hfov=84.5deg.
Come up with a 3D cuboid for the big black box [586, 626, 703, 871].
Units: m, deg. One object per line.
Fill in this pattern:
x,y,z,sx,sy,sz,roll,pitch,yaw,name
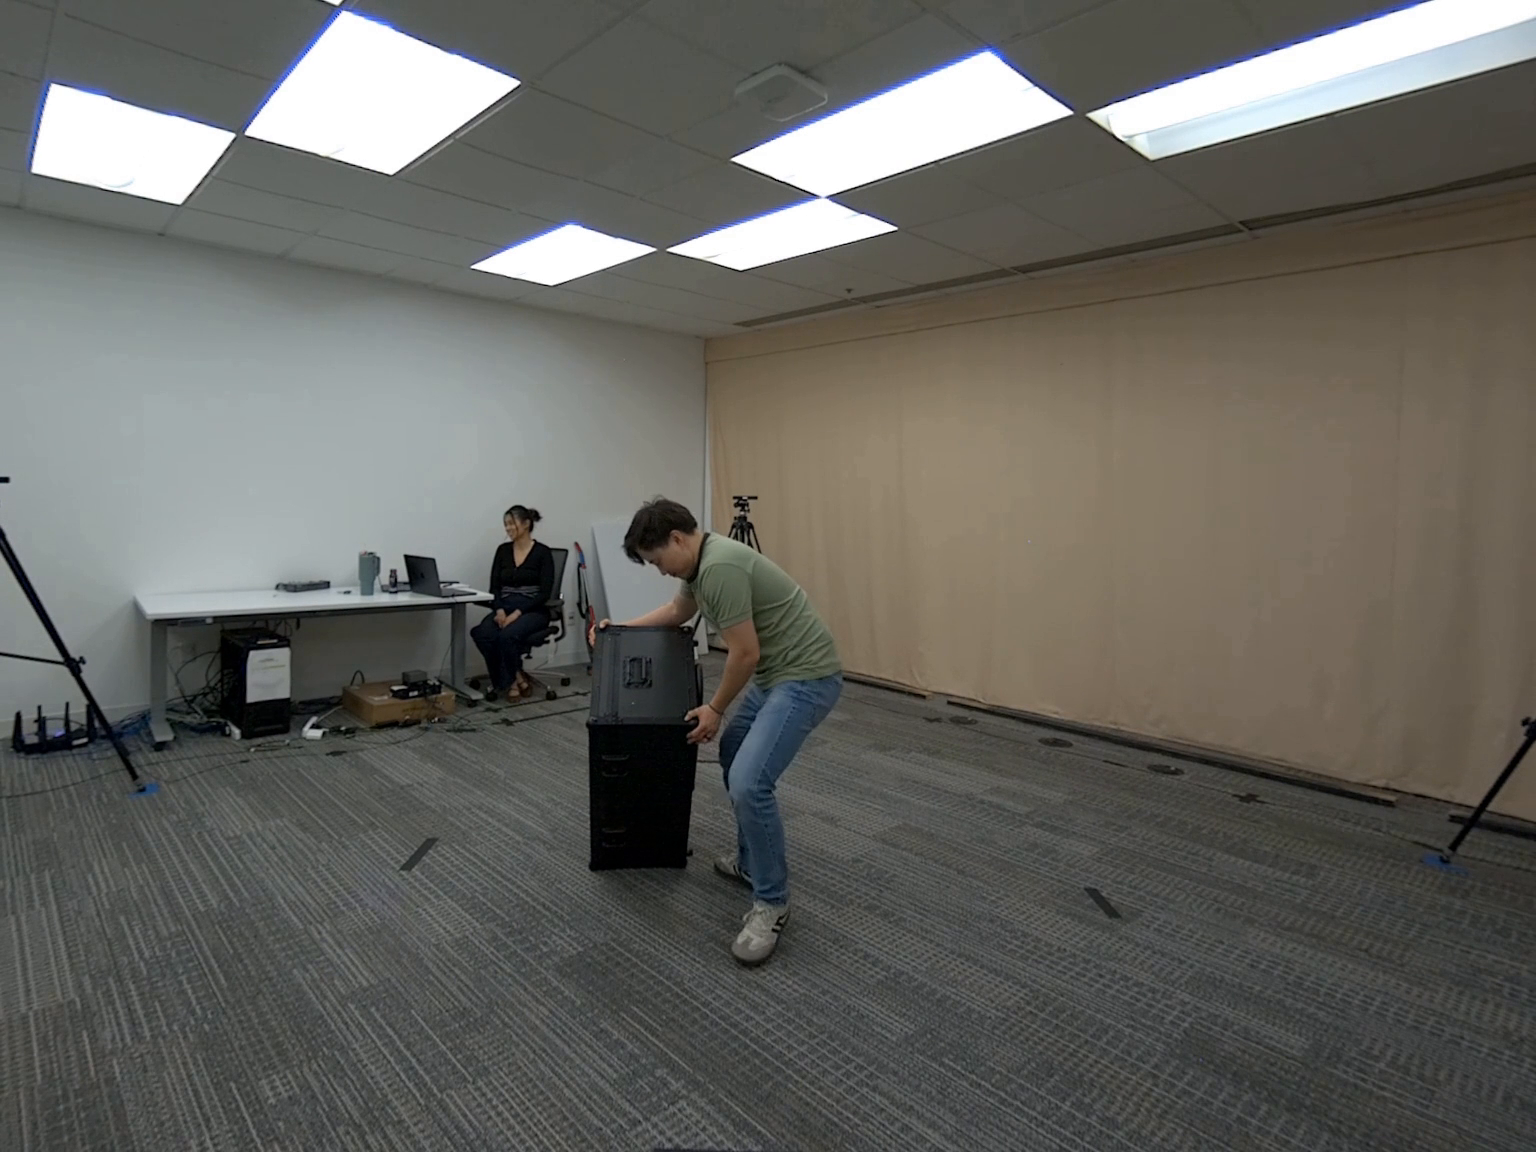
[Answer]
-0.466,0.662,3.128,0.394,0.846,0.534,3,37,-9,big black box
